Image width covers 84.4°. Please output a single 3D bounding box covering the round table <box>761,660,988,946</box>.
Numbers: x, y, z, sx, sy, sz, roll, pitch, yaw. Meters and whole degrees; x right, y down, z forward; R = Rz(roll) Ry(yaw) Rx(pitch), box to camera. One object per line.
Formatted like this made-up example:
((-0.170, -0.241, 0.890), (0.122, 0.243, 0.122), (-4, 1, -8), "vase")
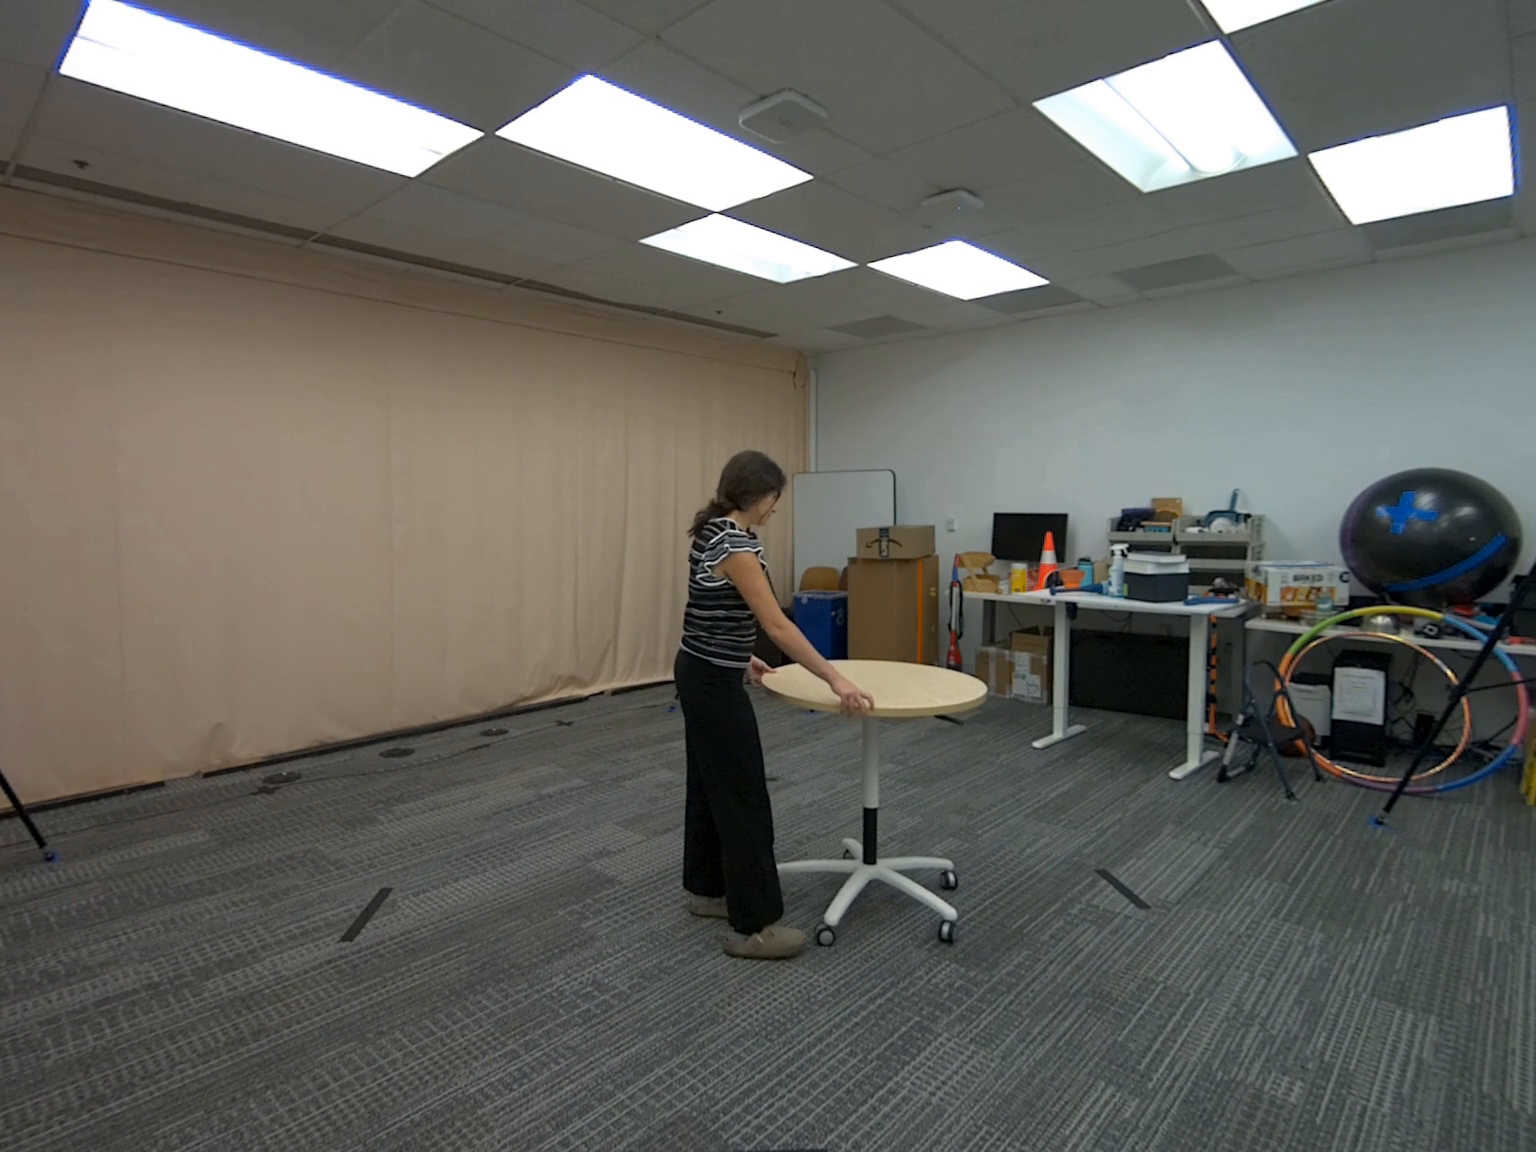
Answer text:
((0.377, 0.753, 2.937), (0.784, 0.784, 0.788), (0, 4, -2), "round table")
